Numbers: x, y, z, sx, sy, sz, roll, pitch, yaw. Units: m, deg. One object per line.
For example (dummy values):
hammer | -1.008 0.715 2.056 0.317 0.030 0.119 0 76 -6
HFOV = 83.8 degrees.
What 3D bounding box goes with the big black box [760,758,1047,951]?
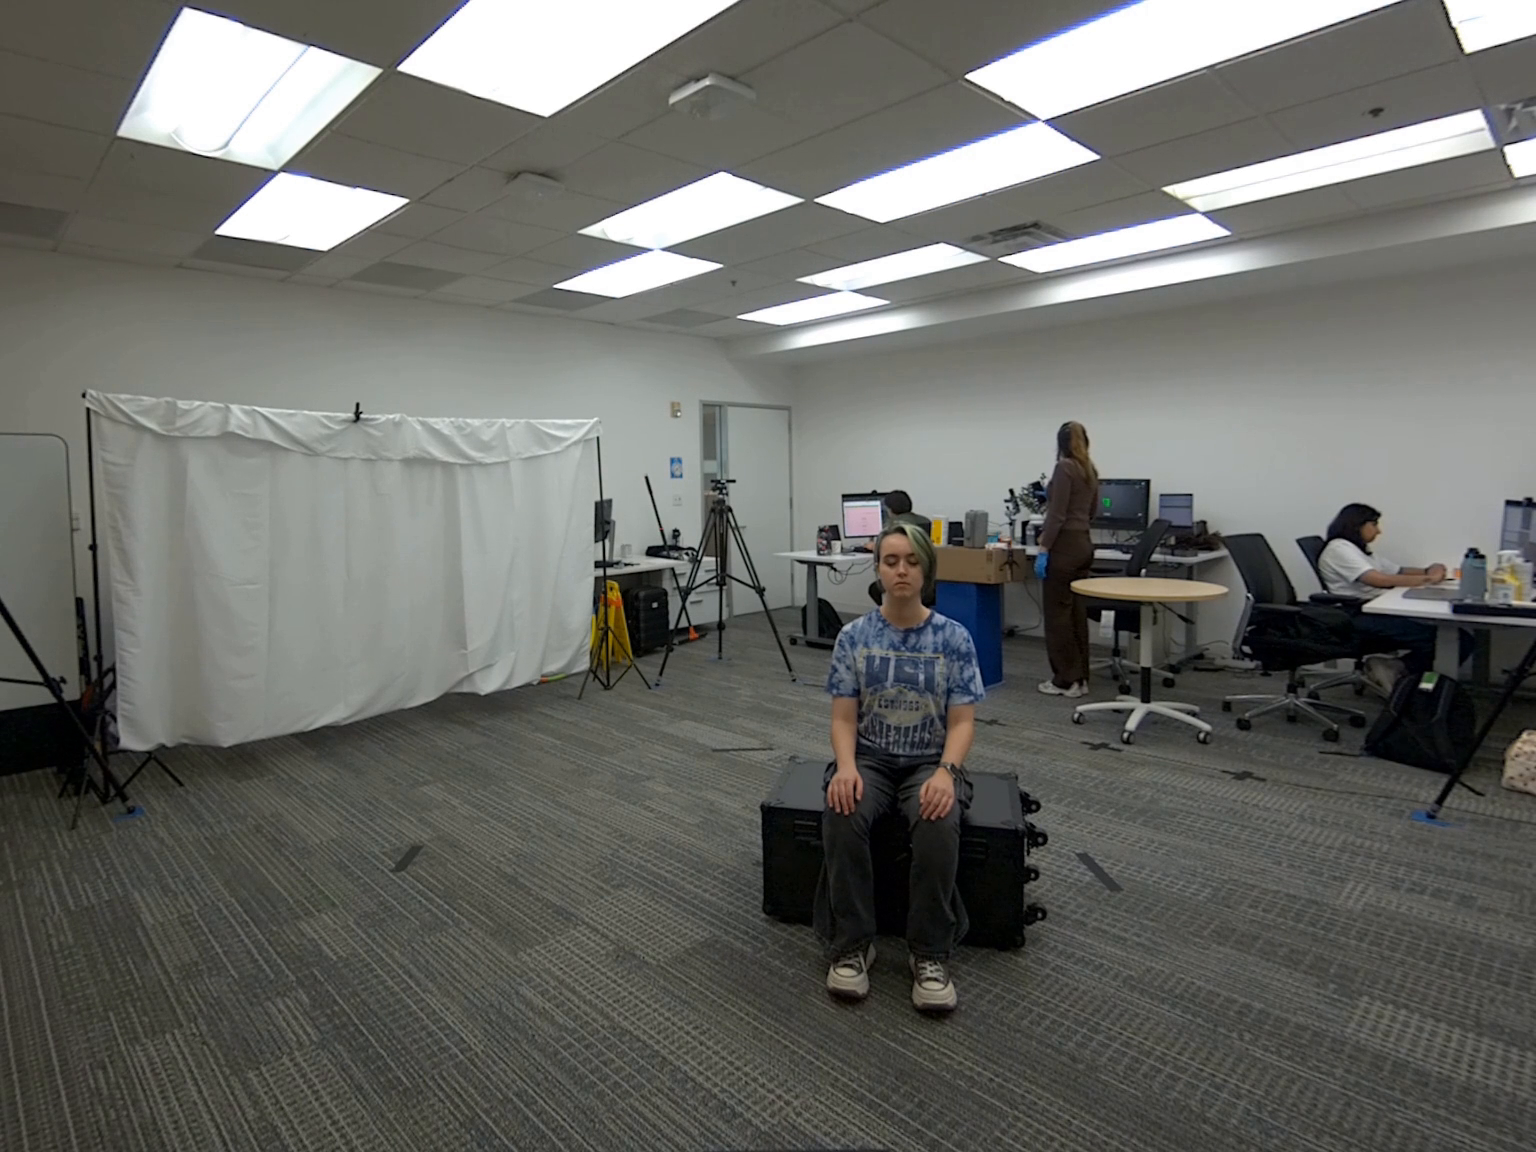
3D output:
big black box | 0.448 0.883 2.800 0.874 0.395 0.516 0 5 15
